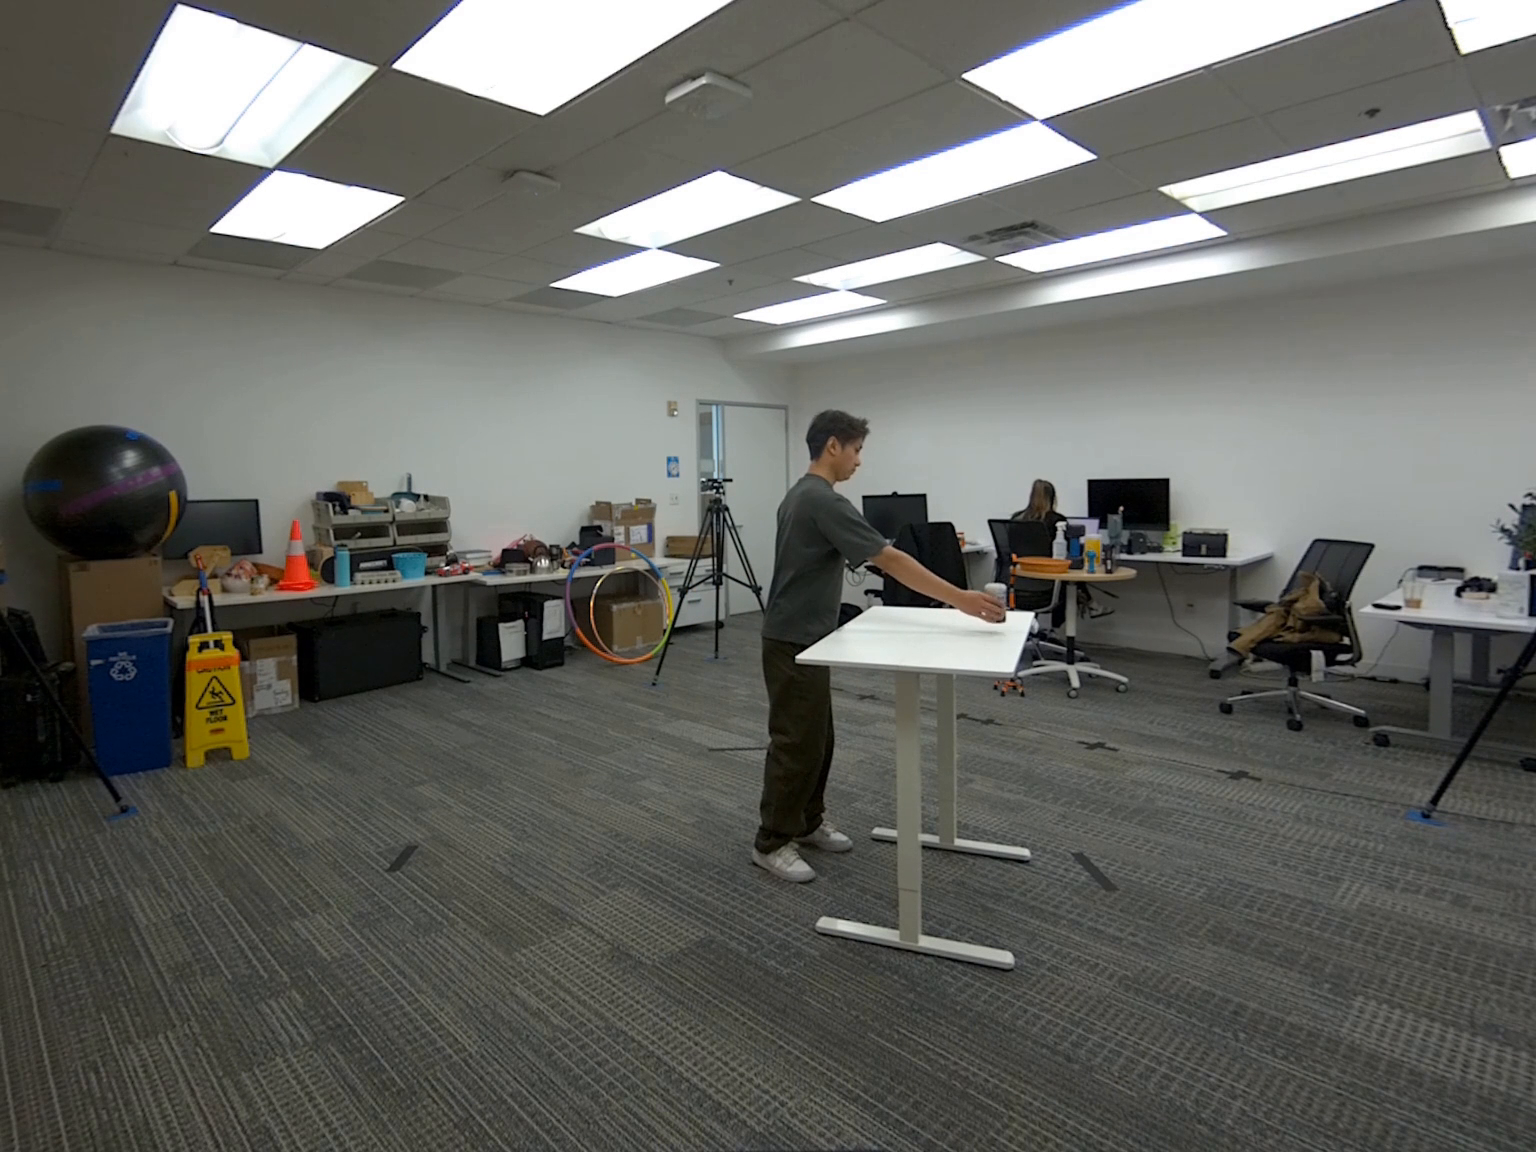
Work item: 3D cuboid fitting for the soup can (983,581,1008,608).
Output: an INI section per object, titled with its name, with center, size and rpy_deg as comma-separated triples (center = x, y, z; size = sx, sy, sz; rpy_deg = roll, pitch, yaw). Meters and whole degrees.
[soup can]
center = 0.741, 0.086, 2.763
size = 0.067, 0.121, 0.067
rpy_deg = 0, 7, -2
